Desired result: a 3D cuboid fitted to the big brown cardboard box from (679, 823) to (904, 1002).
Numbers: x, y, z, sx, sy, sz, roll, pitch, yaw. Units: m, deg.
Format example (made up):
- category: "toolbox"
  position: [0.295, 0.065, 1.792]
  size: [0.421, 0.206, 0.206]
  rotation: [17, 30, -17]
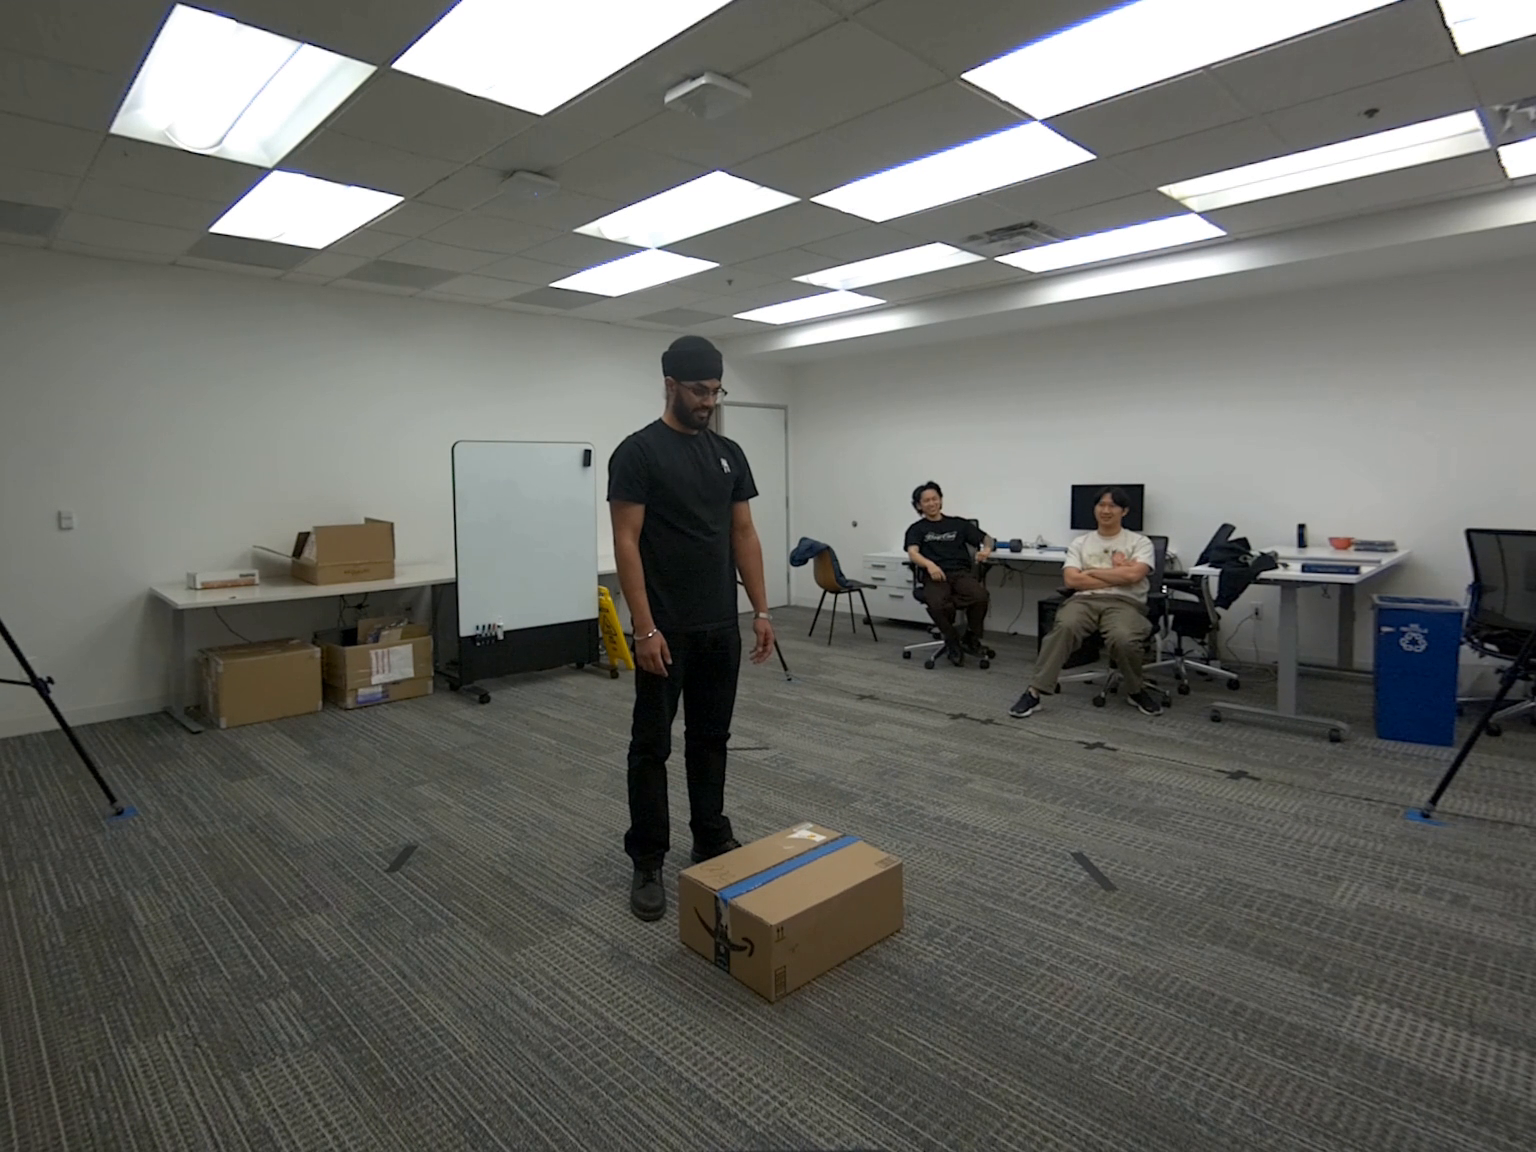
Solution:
- category: "big brown cardboard box"
  position: [0.076, 0.993, 2.609]
  size: [0.574, 0.232, 0.430]
  rotation: [-9, 9, -42]
